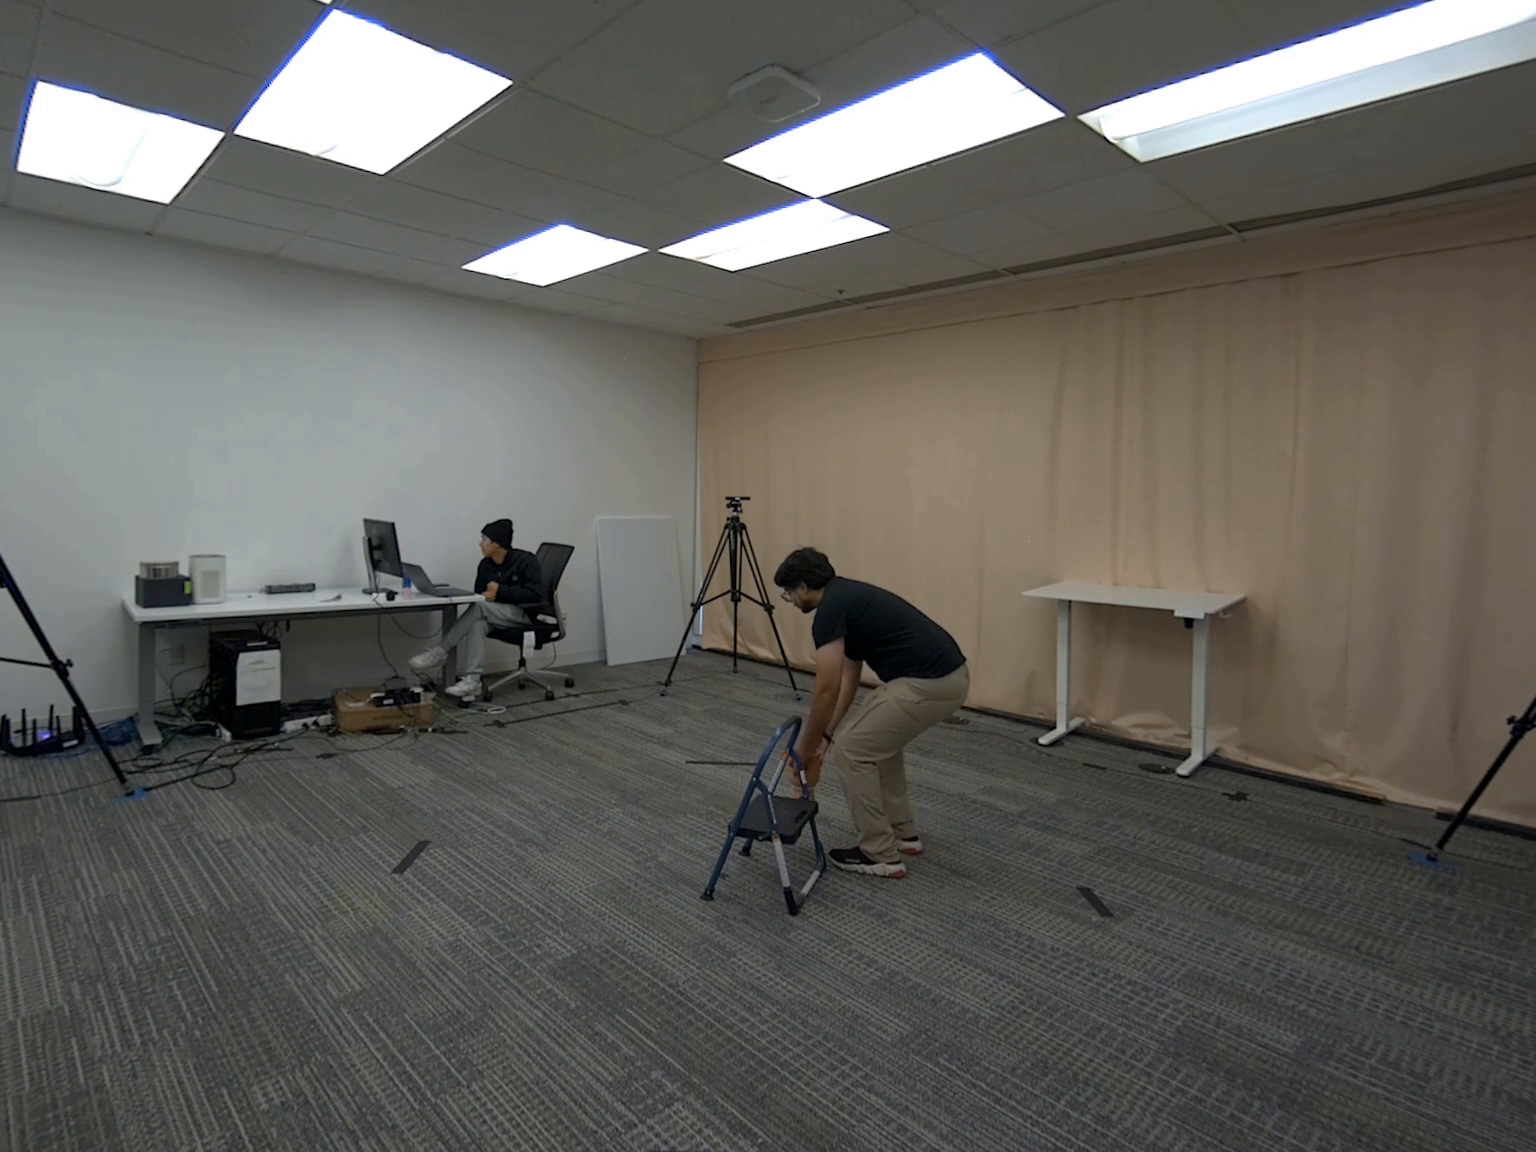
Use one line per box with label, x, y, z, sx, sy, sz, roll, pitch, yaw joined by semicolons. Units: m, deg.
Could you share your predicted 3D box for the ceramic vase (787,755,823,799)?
ceramic vase;0.141;0.820;3.410;0.155;0.220;0.137;0;0;-29
